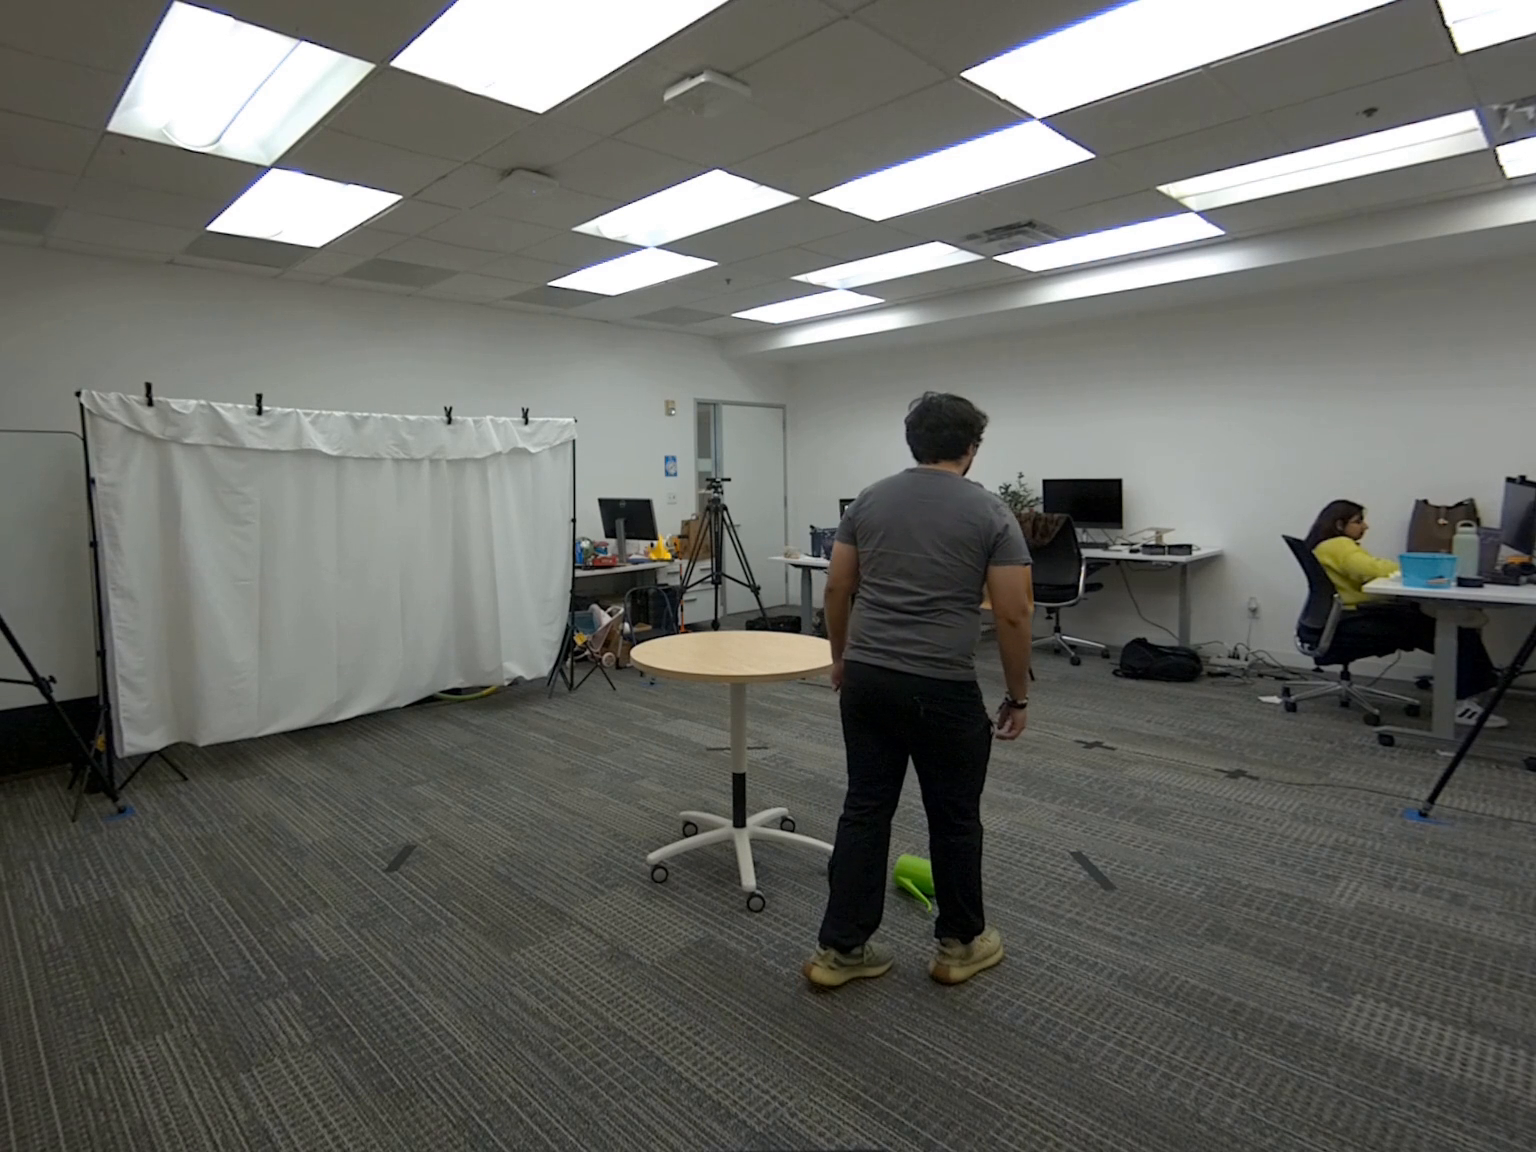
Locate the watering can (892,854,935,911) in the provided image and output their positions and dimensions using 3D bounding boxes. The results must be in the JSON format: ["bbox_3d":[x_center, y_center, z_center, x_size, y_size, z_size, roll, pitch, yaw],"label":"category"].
[{"bbox_3d":[0.511,1.014,2.842,0.181,0.098,0.271,3,1,31],"label":"watering can"}]
